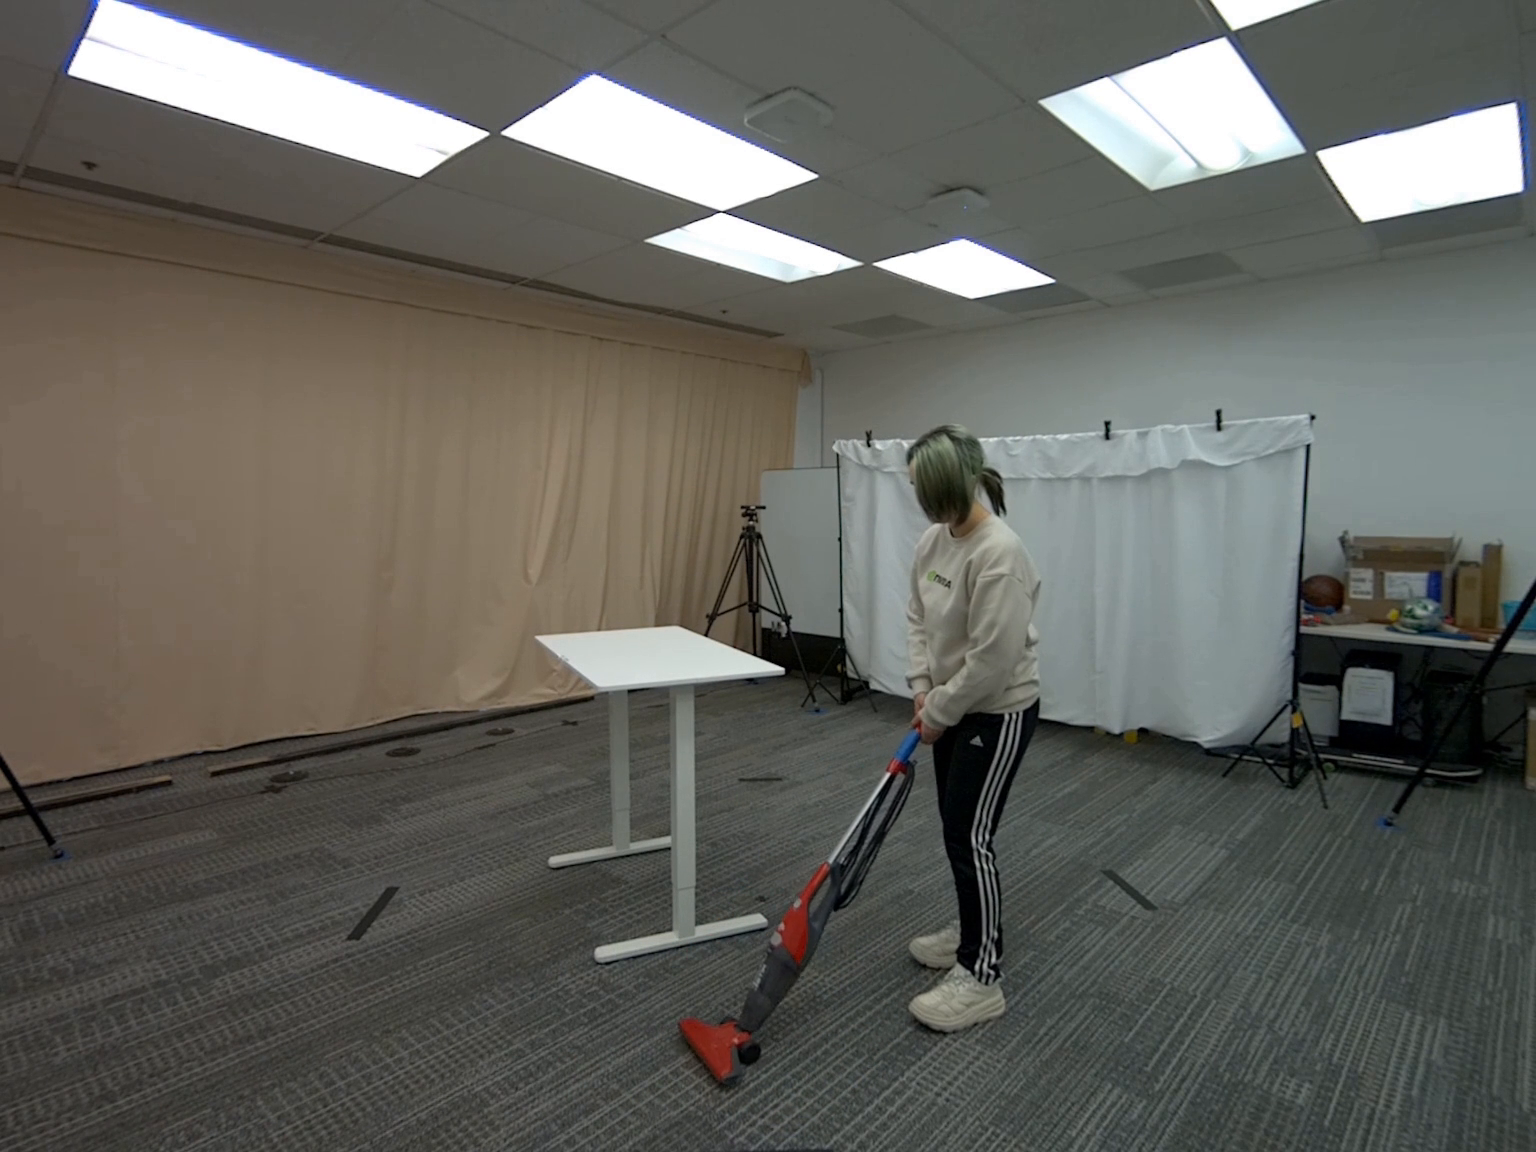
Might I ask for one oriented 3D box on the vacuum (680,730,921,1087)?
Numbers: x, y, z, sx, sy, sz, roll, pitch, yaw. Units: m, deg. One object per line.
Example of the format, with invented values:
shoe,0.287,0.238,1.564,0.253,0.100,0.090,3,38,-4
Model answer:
vacuum,0.192,0.822,2.263,0.140,1.045,0.261,49,-18,-28
